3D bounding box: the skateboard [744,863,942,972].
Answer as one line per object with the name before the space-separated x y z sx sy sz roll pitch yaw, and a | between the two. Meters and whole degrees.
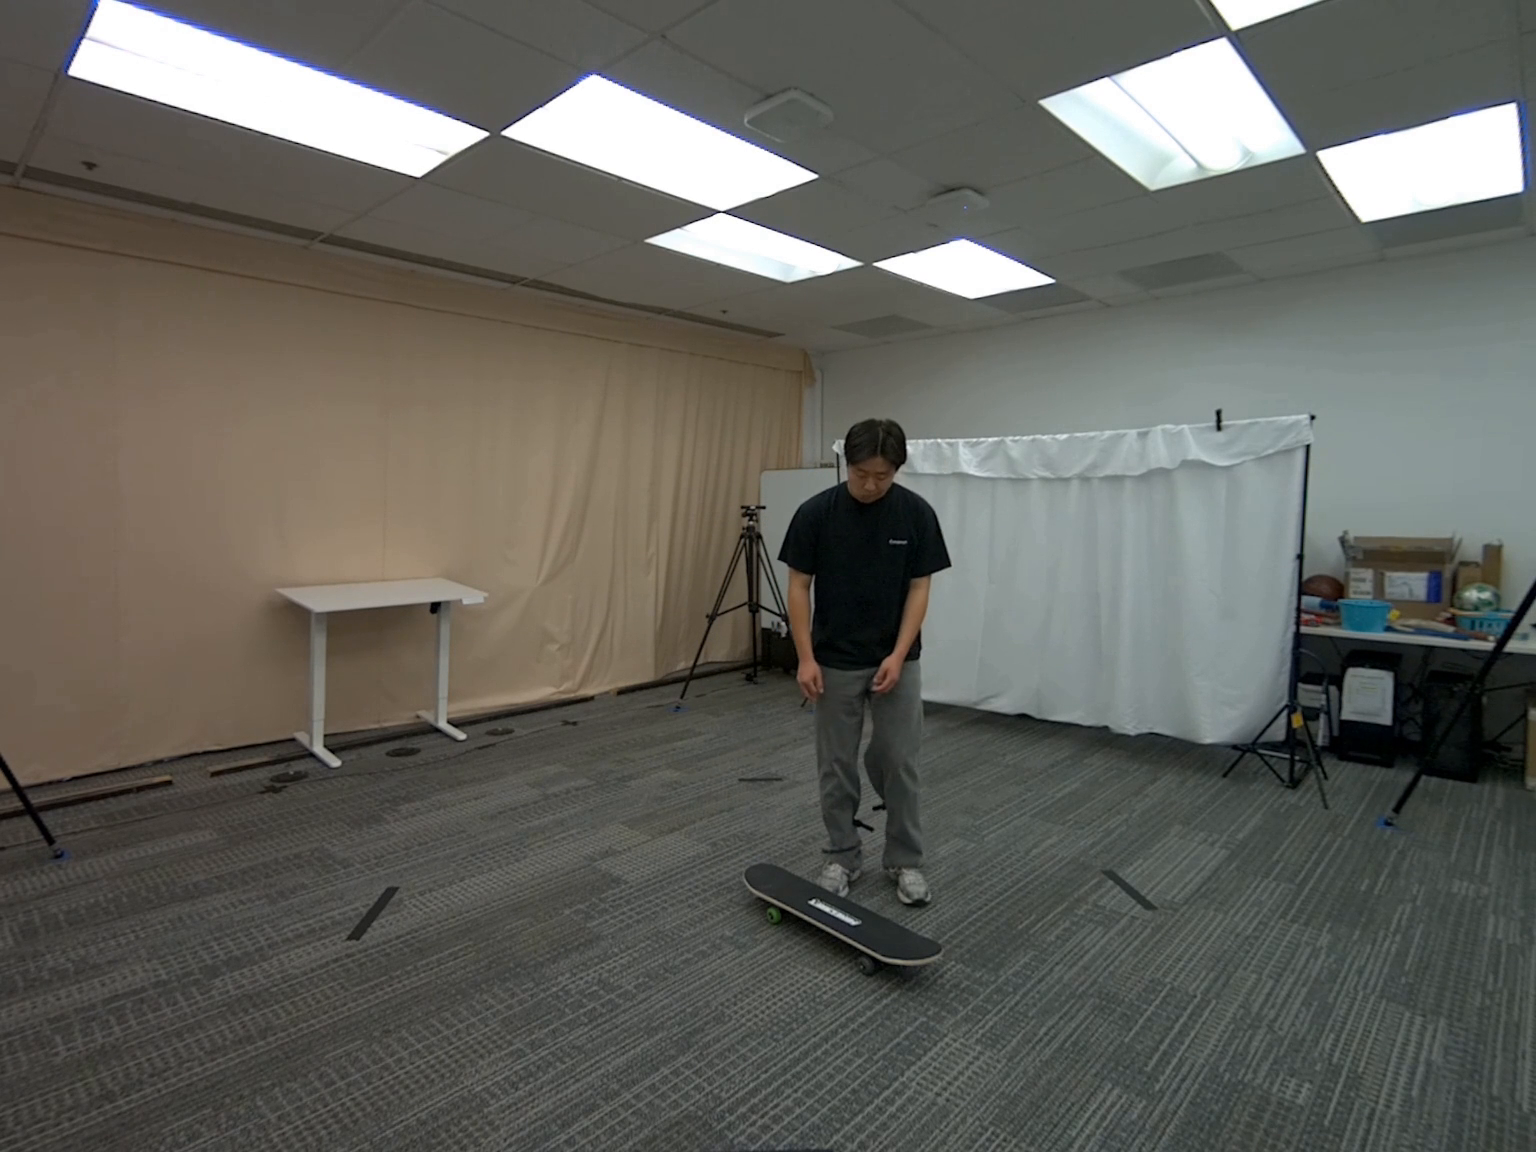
skateboard | 0.217 1.109 2.705 0.187 0.110 0.812 -3 6 -41
